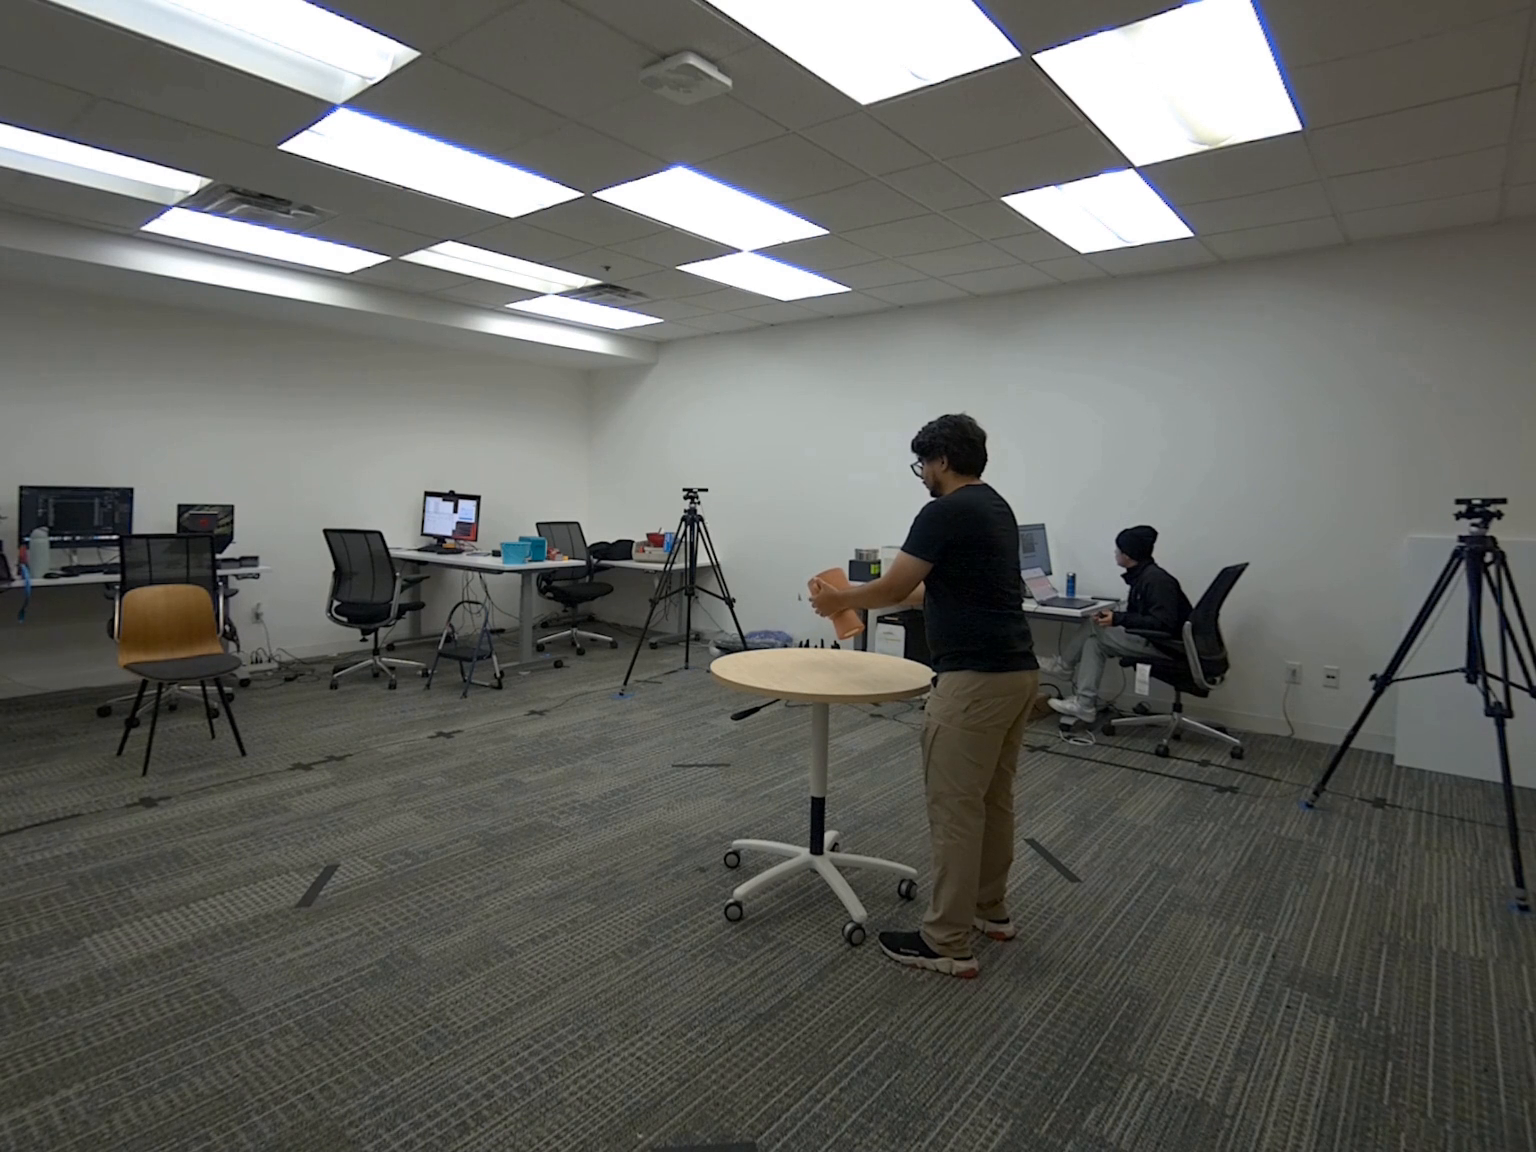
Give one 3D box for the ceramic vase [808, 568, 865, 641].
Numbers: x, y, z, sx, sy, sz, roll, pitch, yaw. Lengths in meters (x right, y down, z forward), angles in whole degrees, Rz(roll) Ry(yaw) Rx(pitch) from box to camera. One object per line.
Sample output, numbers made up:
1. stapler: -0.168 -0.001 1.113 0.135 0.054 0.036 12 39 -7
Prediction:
1. ceramic vase: 0.228 0.097 2.903 0.156 0.225 0.133 -14 -21 -22
